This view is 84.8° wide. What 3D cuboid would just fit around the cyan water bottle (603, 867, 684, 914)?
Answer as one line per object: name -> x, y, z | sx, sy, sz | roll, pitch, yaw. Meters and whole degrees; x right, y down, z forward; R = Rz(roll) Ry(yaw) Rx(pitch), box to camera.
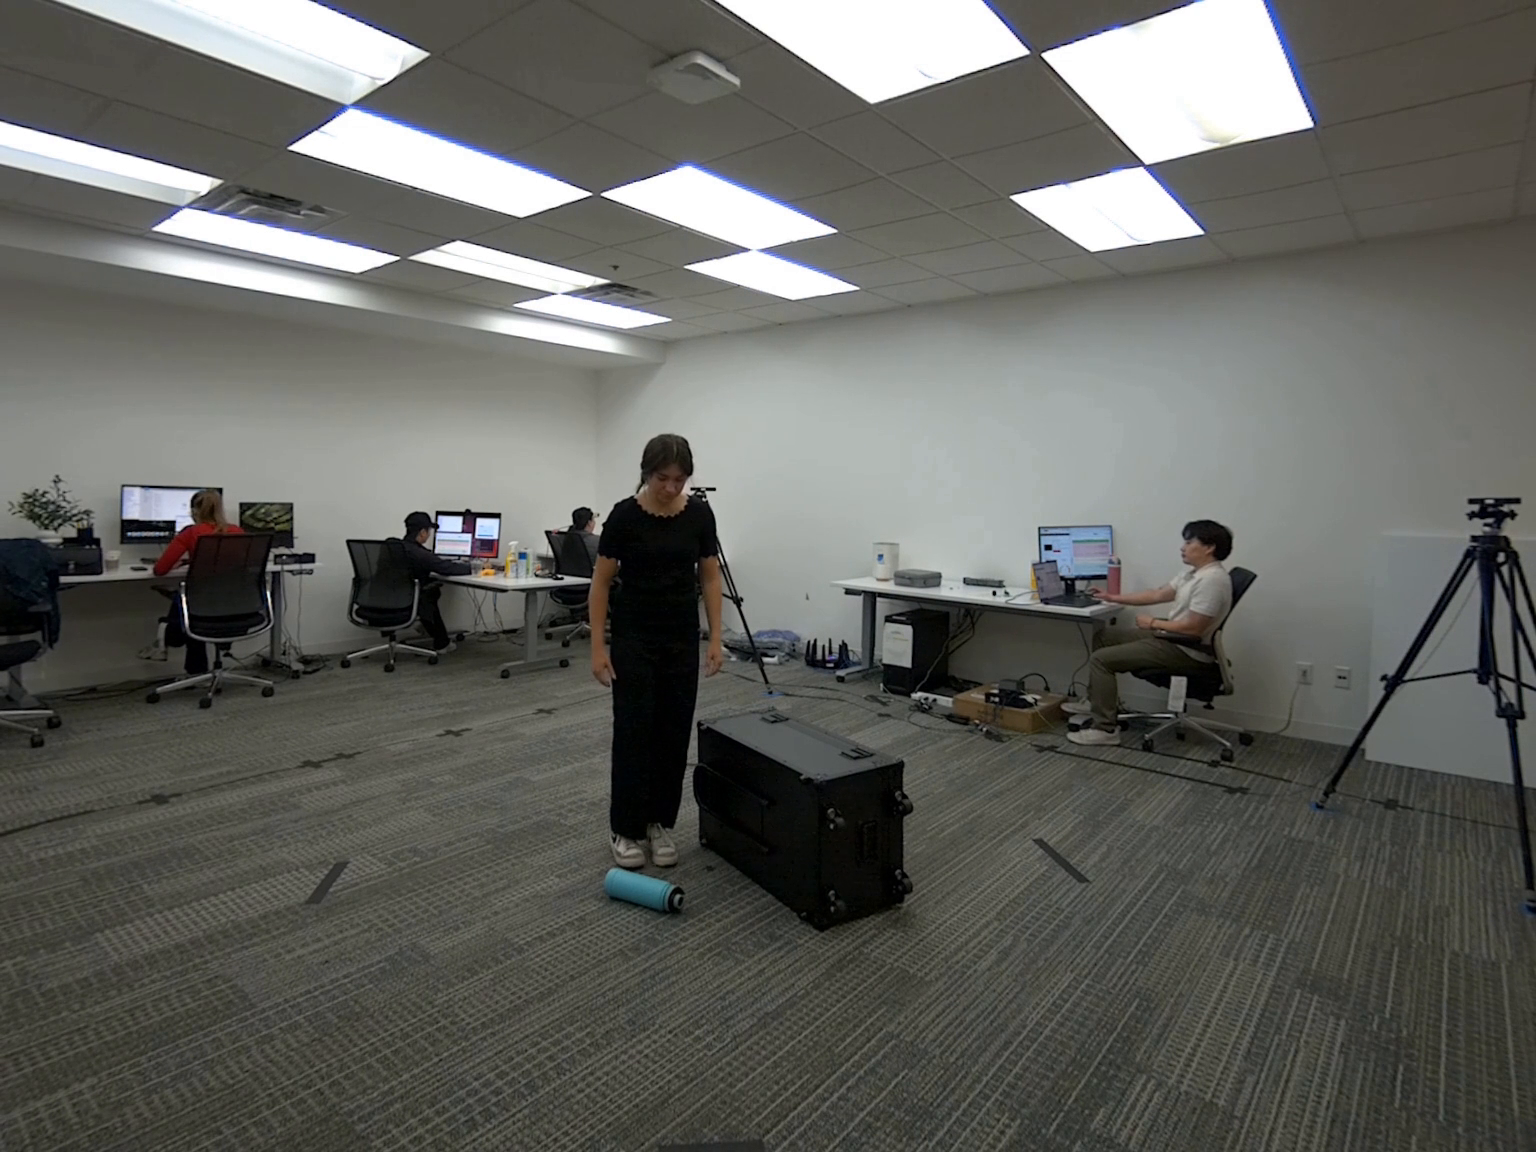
cyan water bottle -> -0.419, 1.047, 2.825 | 0.291, 0.092, 0.090 | 3, 5, 25
